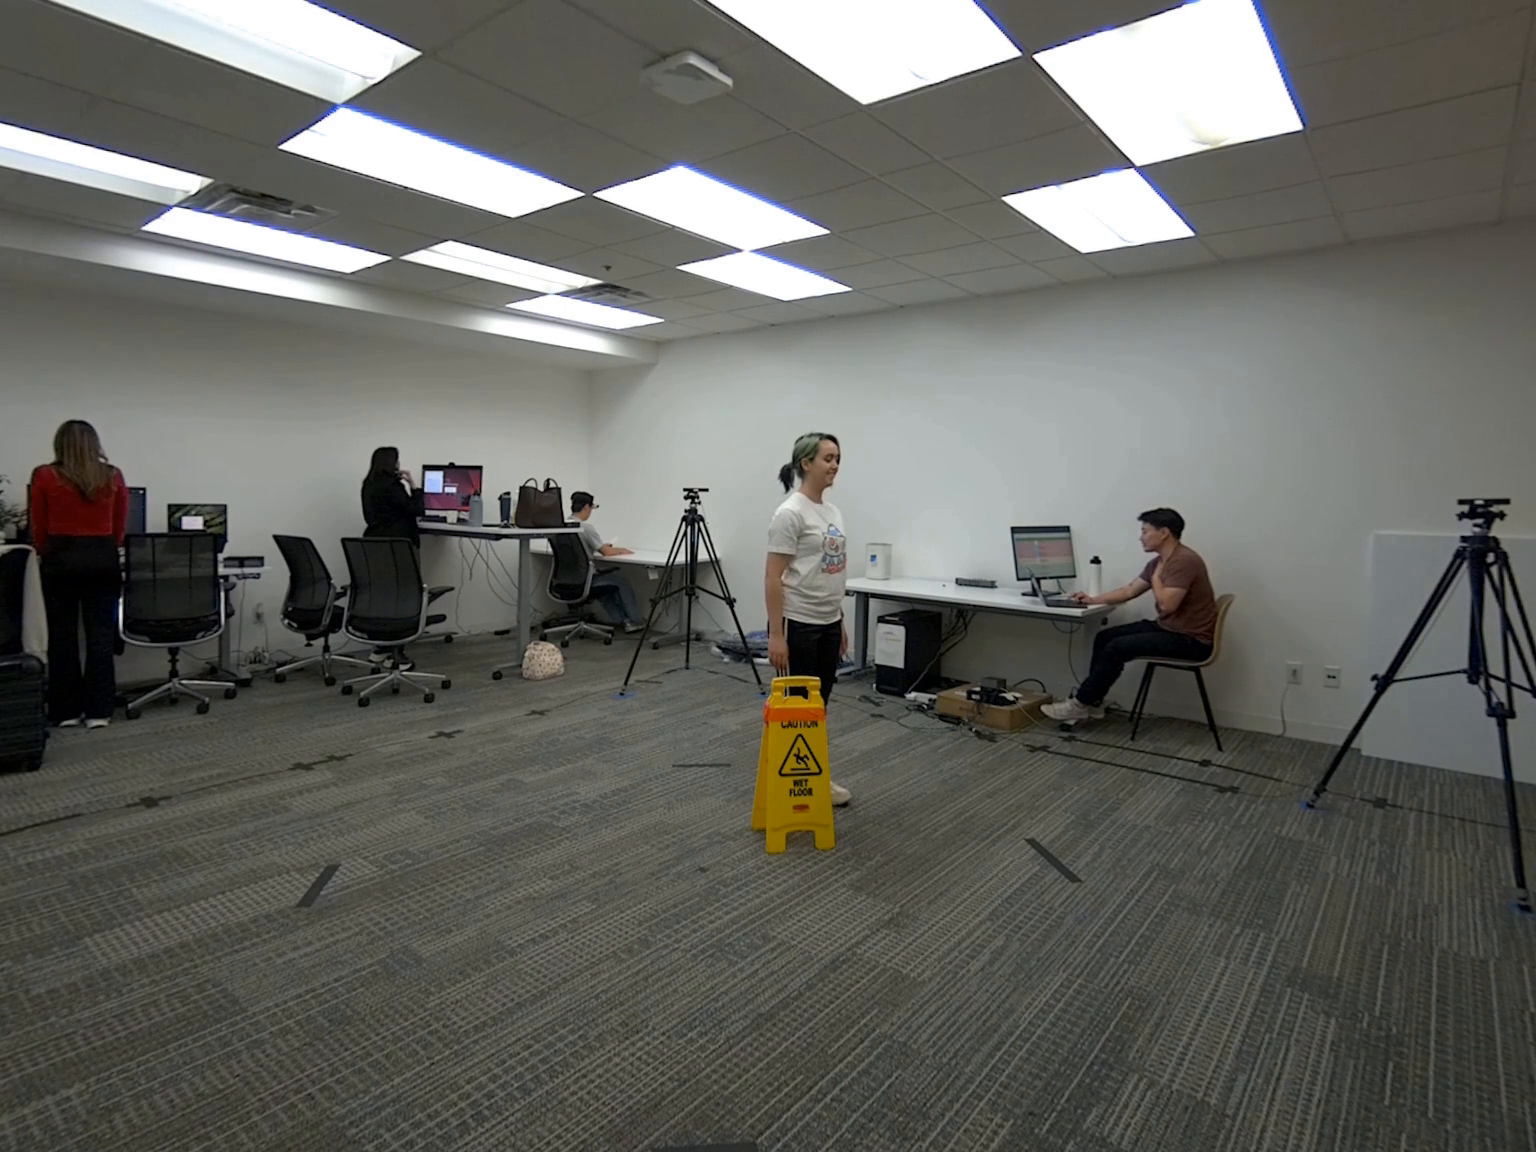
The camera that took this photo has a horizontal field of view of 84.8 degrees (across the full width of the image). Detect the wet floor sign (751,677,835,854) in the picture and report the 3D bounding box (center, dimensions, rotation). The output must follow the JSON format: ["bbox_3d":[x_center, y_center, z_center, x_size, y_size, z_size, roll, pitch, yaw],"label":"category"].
[{"bbox_3d":[0.099,0.726,3.388,0.279,0.645,0.294,1,2,-12],"label":"wet floor sign"}]
